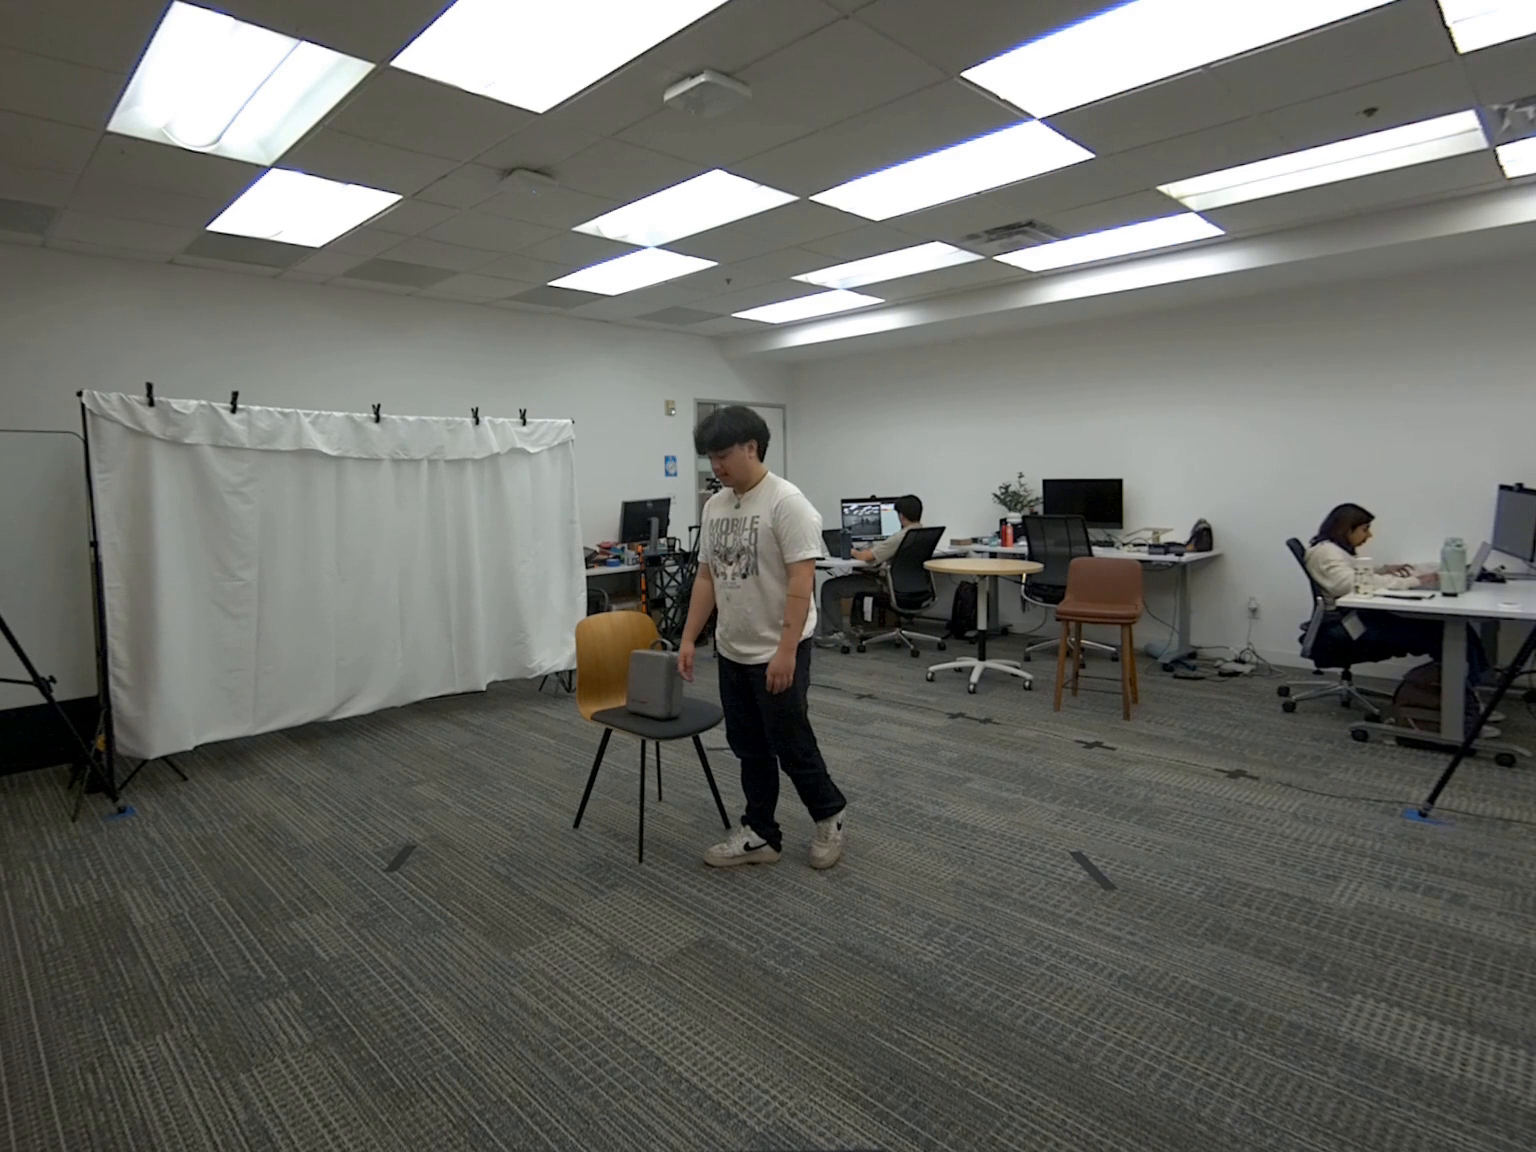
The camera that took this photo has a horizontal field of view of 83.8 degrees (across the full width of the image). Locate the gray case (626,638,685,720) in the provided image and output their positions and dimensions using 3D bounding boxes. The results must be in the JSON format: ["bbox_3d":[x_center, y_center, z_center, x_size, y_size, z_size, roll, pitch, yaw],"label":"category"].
[{"bbox_3d":[-0.446,0.418,3.351,0.101,0.262,0.264,7,-5,-41],"label":"gray case"}]
